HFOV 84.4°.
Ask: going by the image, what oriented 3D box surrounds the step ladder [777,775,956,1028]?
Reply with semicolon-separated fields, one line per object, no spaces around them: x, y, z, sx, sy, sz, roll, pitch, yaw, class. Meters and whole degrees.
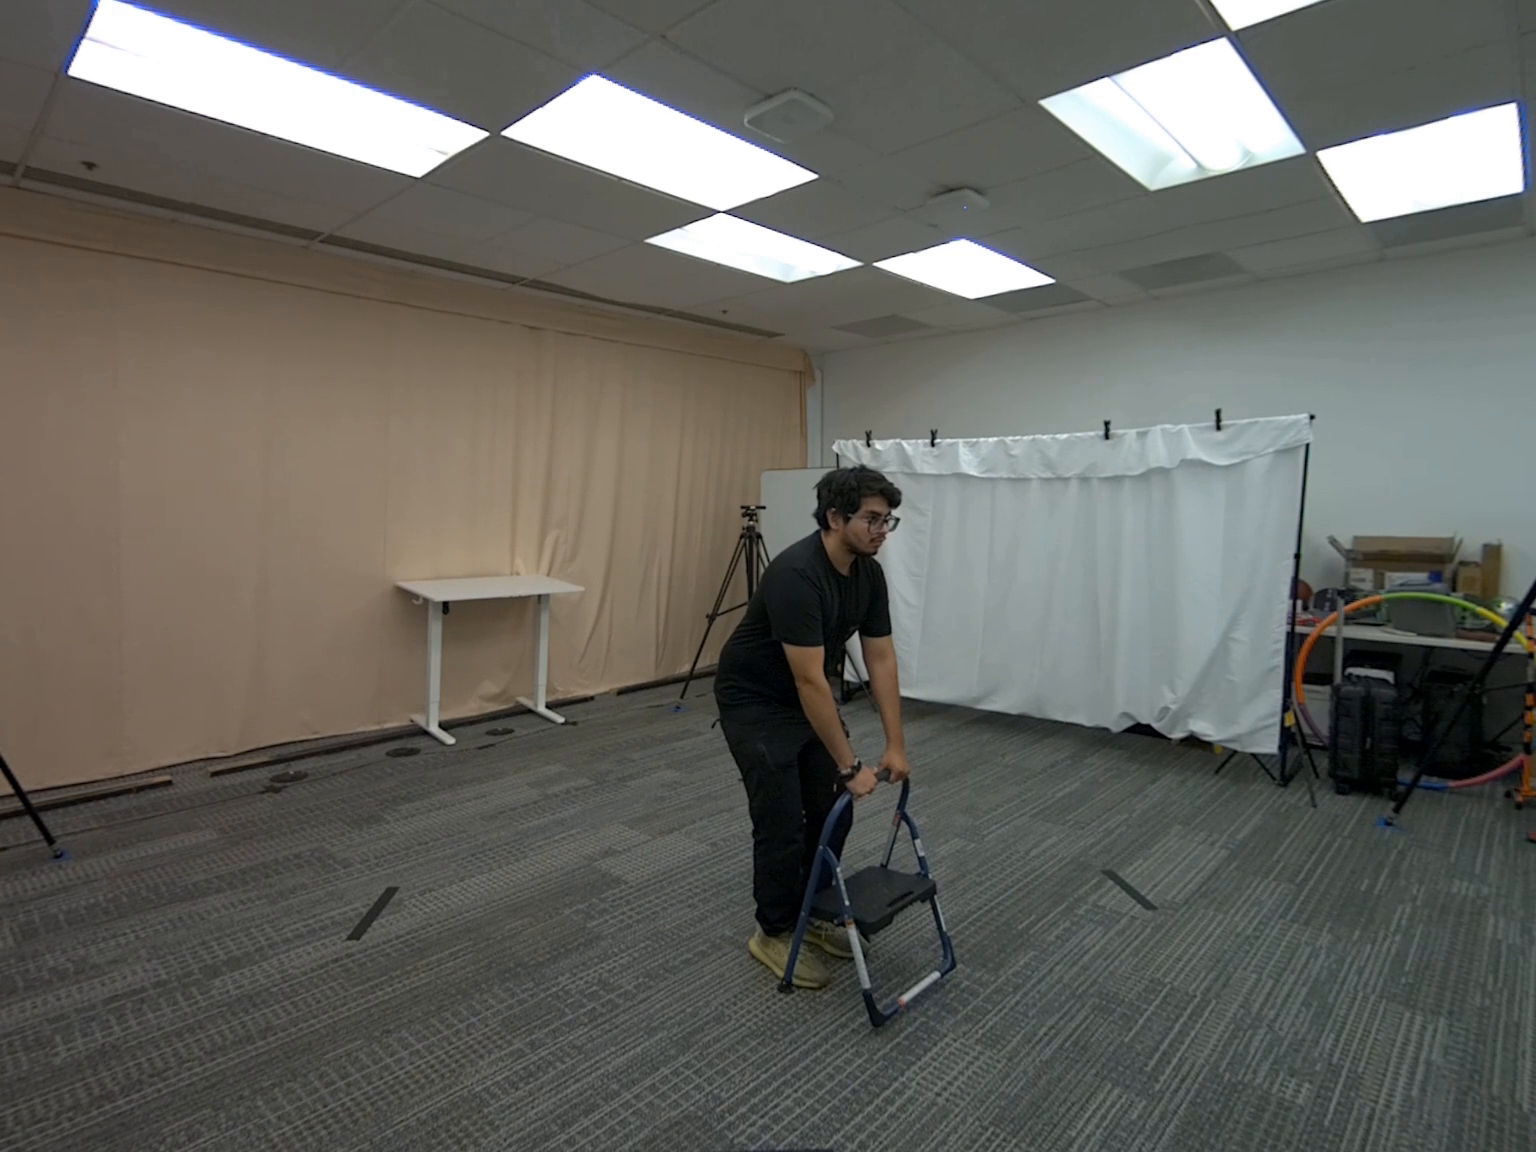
0.284;0.872;2.447;0.360;0.606;0.417;-3;1;42;step ladder
